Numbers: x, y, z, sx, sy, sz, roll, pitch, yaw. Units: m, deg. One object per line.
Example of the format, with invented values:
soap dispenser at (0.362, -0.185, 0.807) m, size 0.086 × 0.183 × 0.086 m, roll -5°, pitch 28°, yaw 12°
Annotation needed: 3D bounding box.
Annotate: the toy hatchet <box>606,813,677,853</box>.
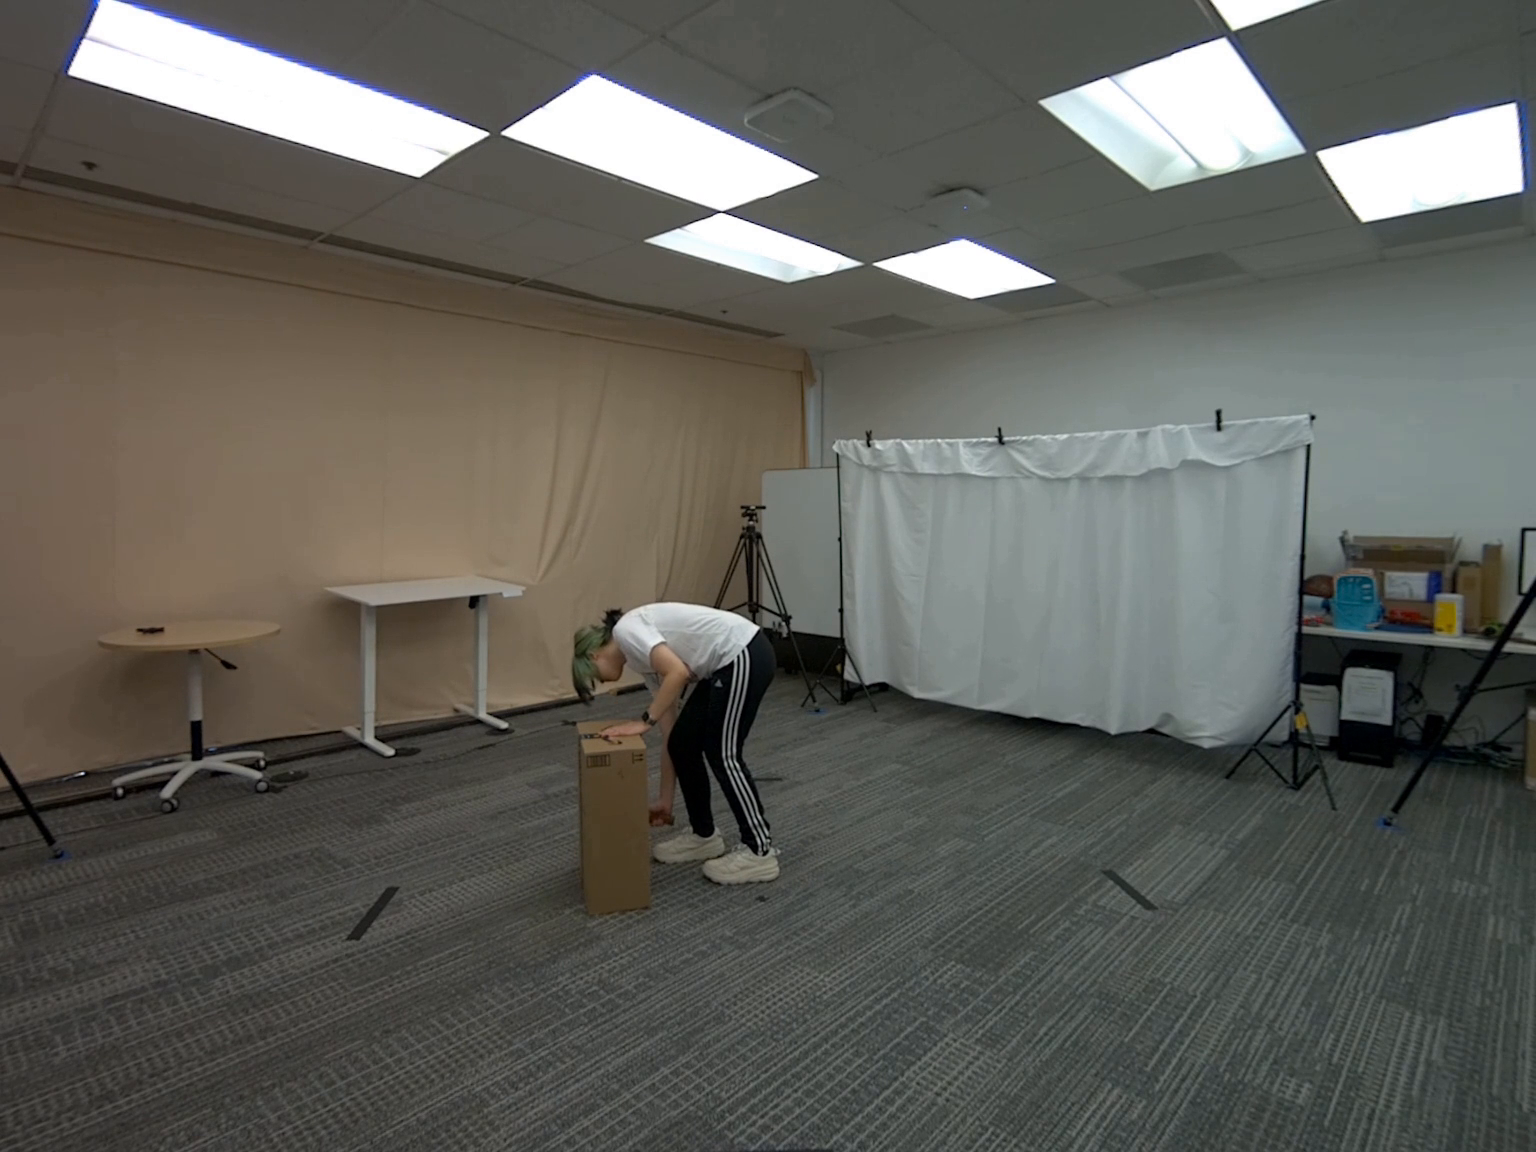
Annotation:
toy hatchet at (-0.498, 1.008, 3.330) m, size 0.272 × 0.132 × 0.029 m, roll -5°, pitch -11°, yaw 8°
